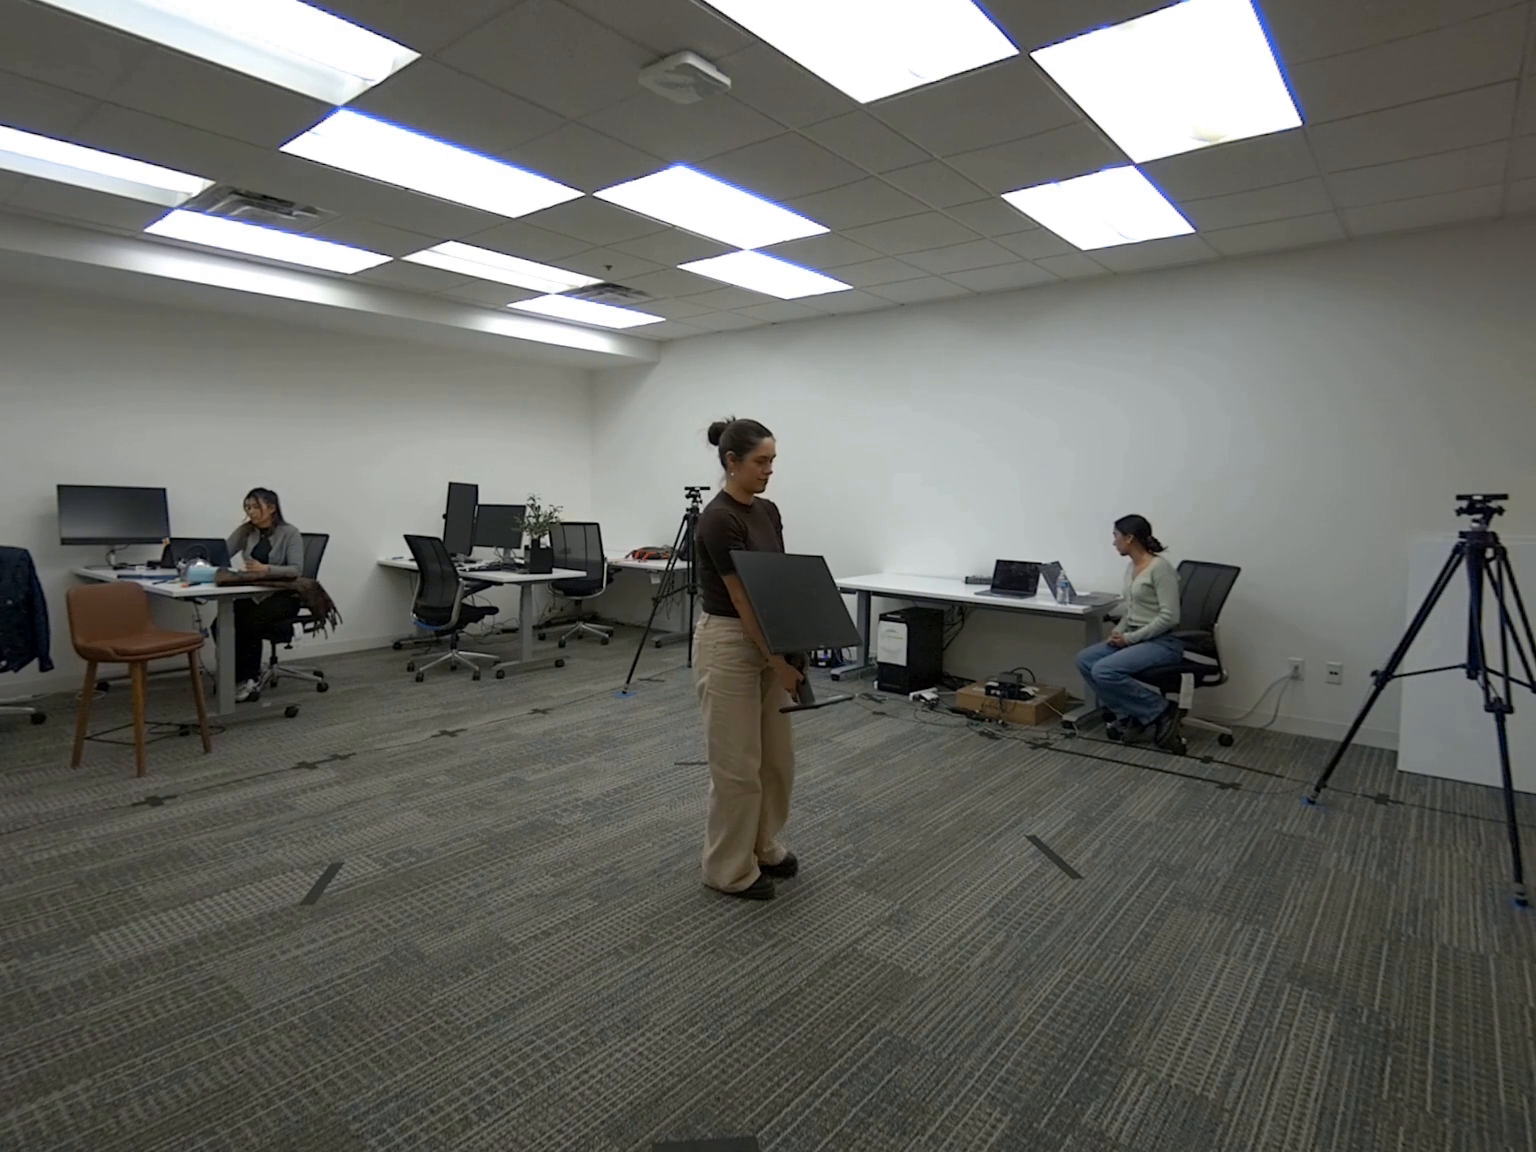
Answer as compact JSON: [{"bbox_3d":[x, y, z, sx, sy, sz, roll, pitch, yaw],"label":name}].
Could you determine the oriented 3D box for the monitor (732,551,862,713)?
[{"bbox_3d":[0.095,0.178,2.784,0.190,0.530,0.522,-19,-13,32],"label":"monitor"}]
